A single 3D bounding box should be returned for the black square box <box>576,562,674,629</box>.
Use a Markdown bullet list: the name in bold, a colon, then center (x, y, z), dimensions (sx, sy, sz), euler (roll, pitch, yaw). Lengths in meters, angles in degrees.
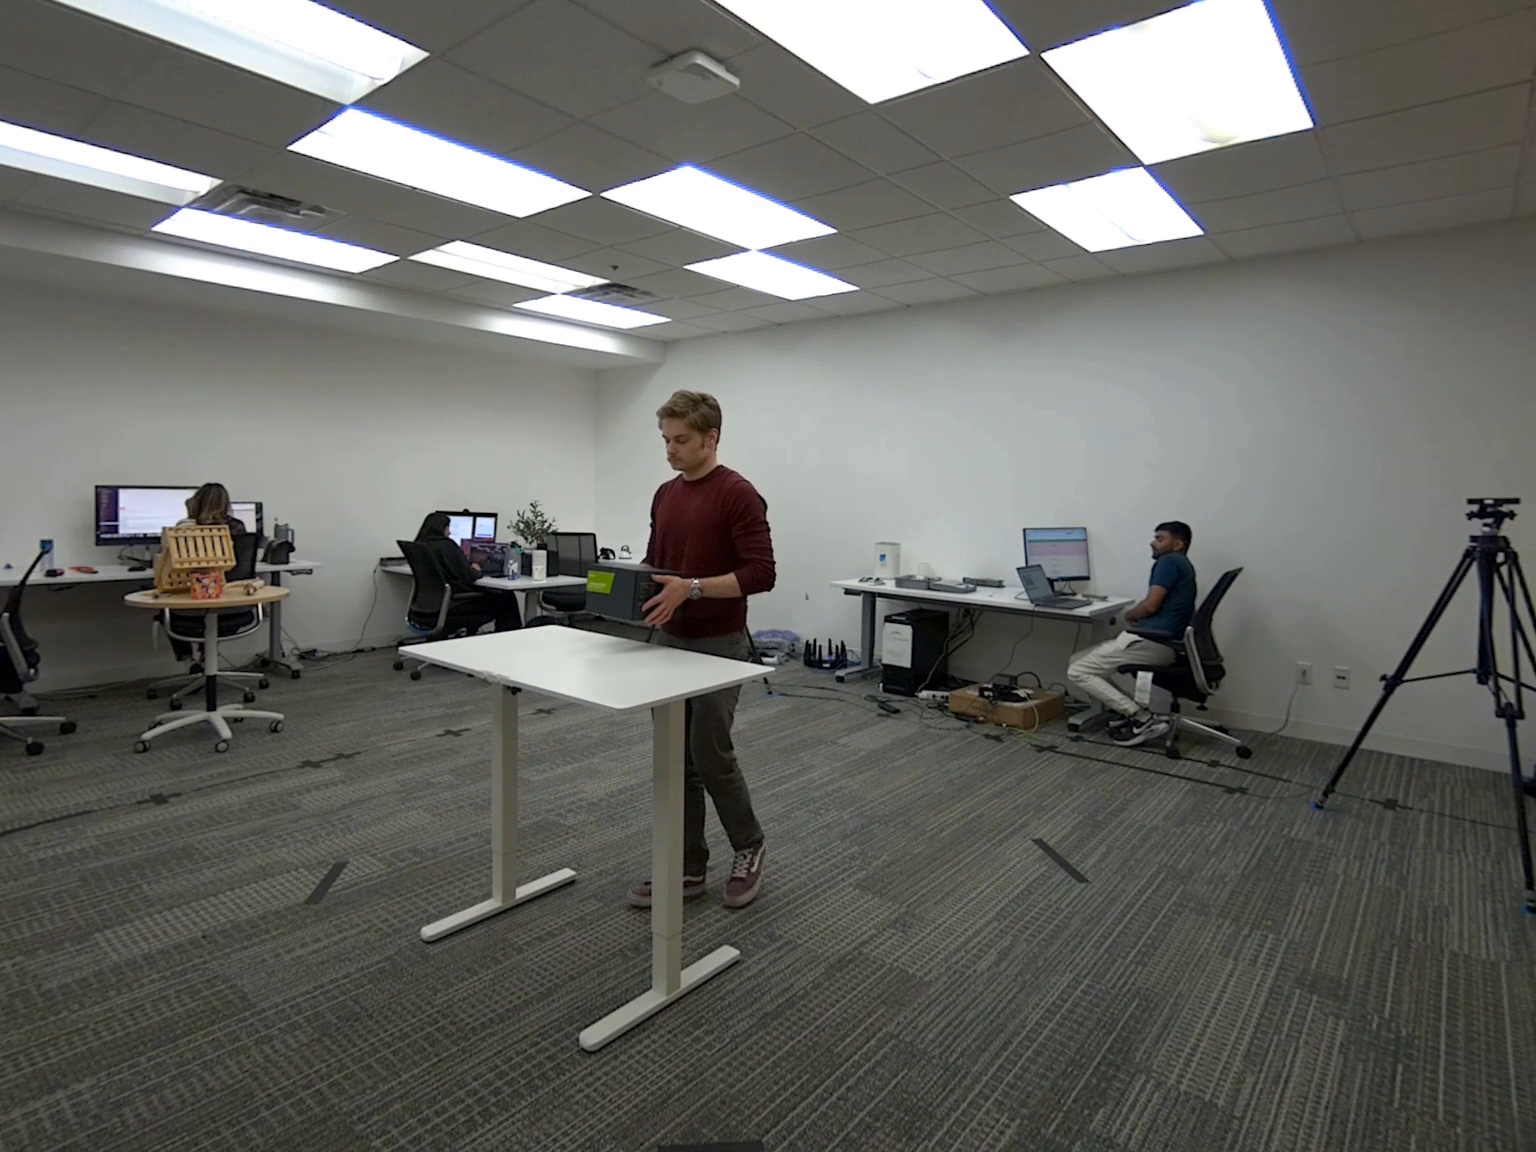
- **black square box**: center (-0.431, 0.047, 2.719), dimensions (0.236, 0.156, 0.210), euler (6, 3, 40)
